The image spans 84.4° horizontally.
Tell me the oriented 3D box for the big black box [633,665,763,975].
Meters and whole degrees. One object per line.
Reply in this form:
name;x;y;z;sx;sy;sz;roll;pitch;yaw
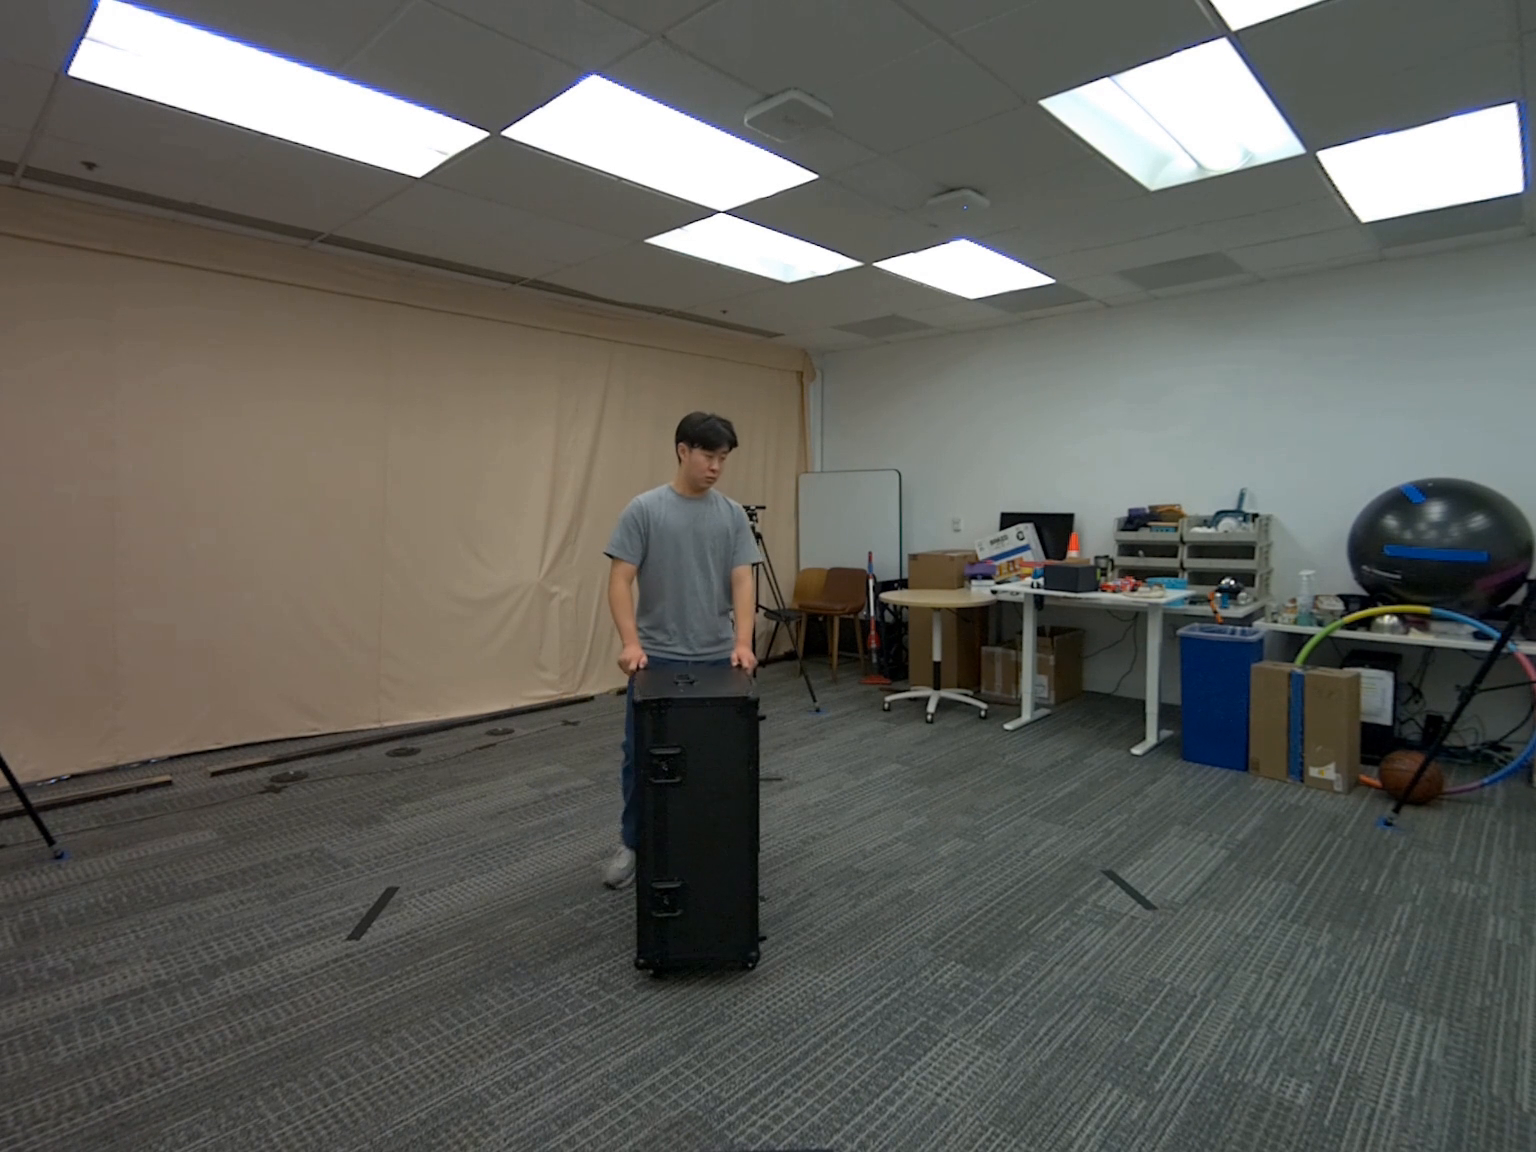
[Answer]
big black box;-0.220;0.757;2.639;0.394;0.861;0.525;0;1;-7
